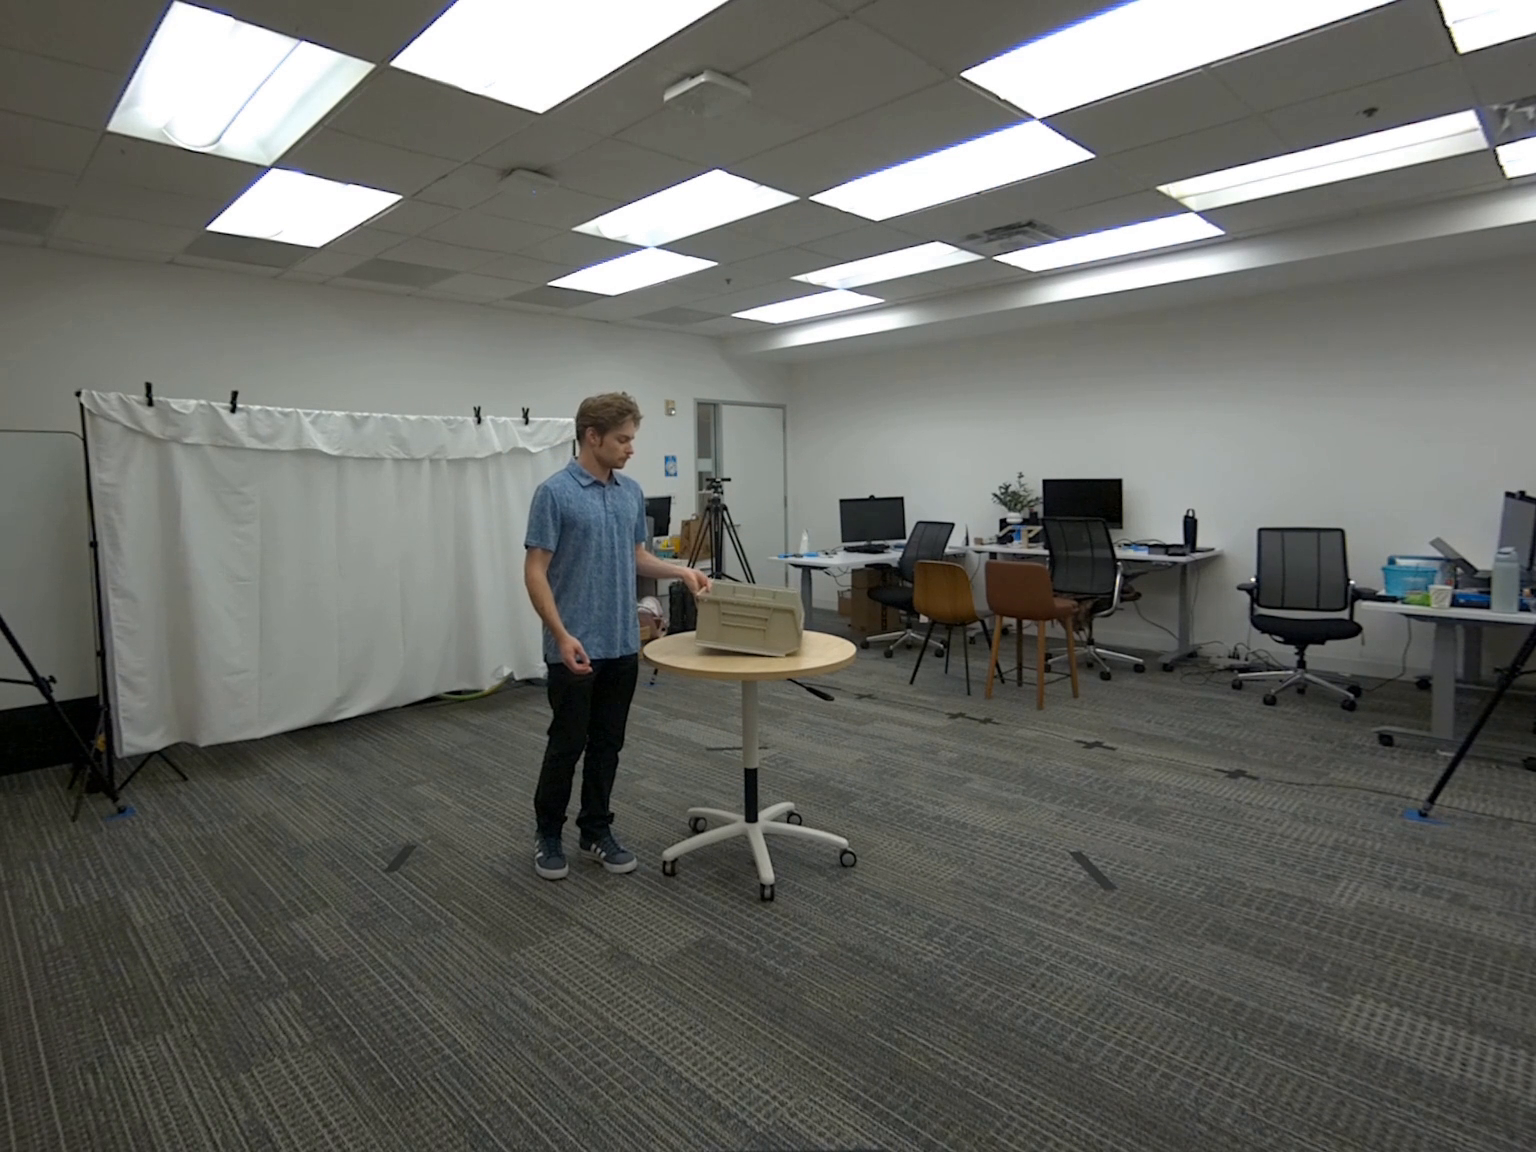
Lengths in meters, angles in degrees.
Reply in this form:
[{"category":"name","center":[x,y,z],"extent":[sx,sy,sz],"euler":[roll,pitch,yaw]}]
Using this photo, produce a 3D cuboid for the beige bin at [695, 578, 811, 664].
[{"category":"beige bin","center":[-0.047,0.151,3.119],"extent":[0.379,0.188,0.423],"euler":[5,8,3]}]
